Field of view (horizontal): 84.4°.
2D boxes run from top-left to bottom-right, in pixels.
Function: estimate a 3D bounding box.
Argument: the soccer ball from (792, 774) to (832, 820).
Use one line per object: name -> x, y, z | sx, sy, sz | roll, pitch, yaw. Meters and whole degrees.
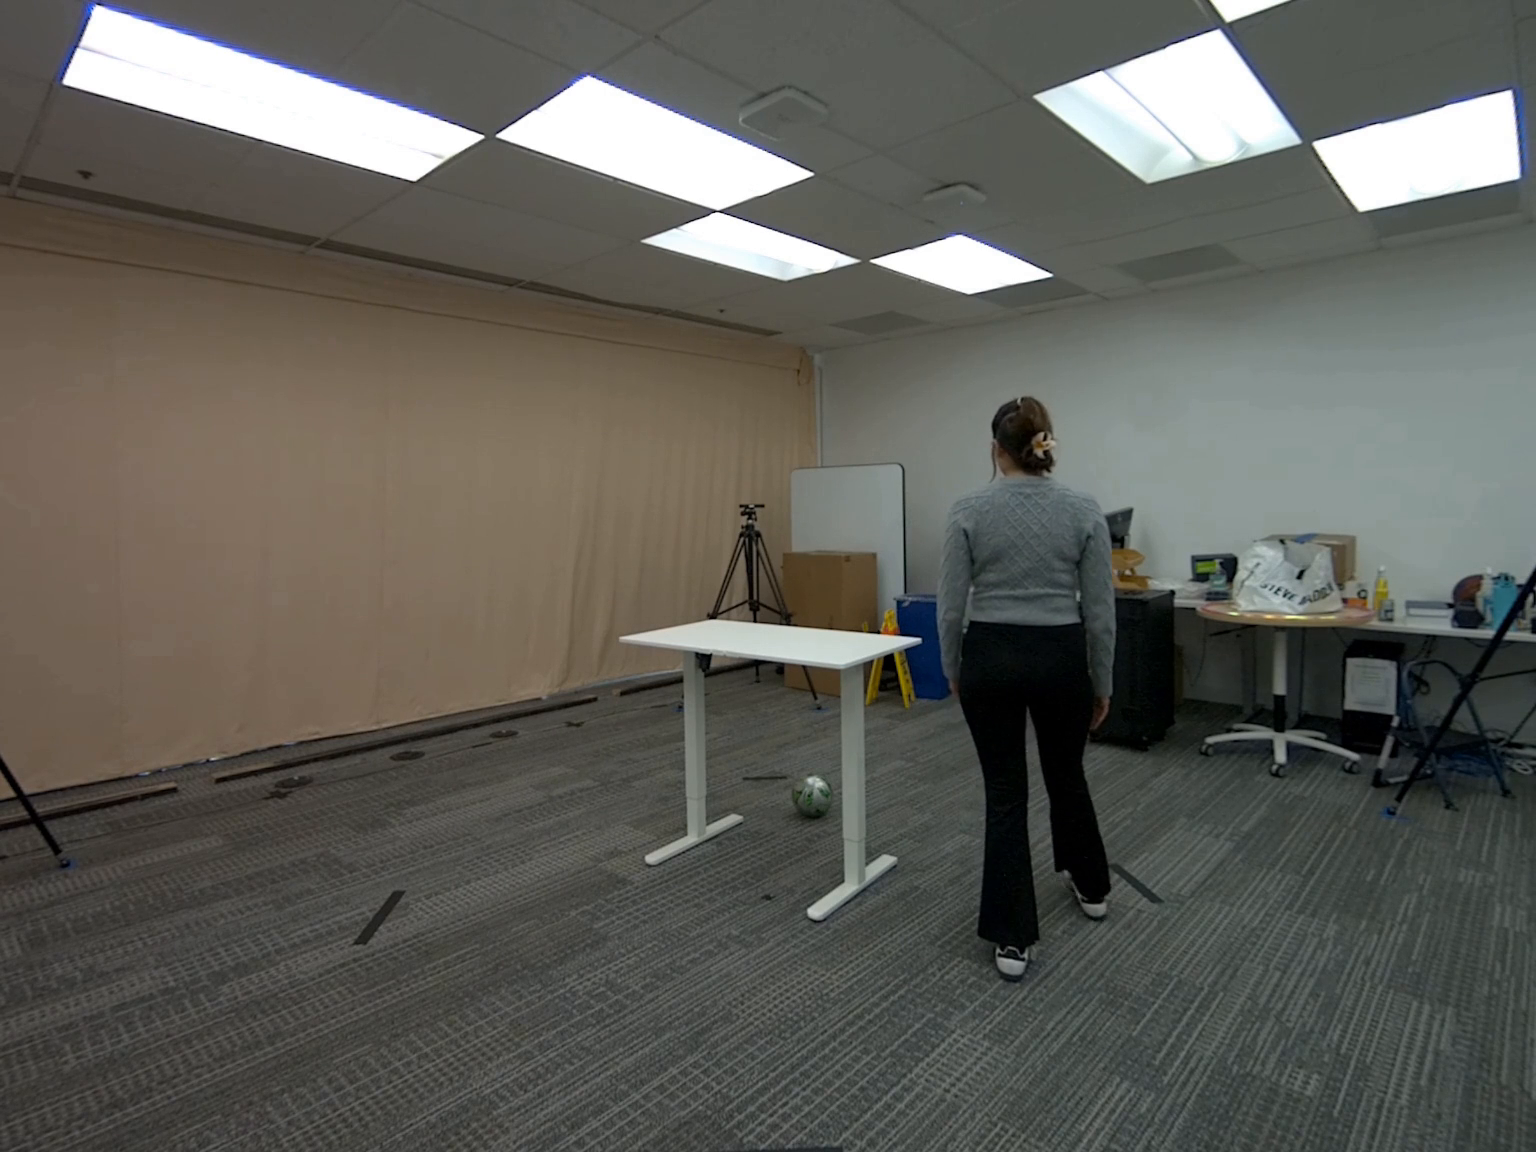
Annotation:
soccer ball -> 0.199, 0.974, 3.762 | 0.187, 0.187, 0.188 | -1, 4, -2
